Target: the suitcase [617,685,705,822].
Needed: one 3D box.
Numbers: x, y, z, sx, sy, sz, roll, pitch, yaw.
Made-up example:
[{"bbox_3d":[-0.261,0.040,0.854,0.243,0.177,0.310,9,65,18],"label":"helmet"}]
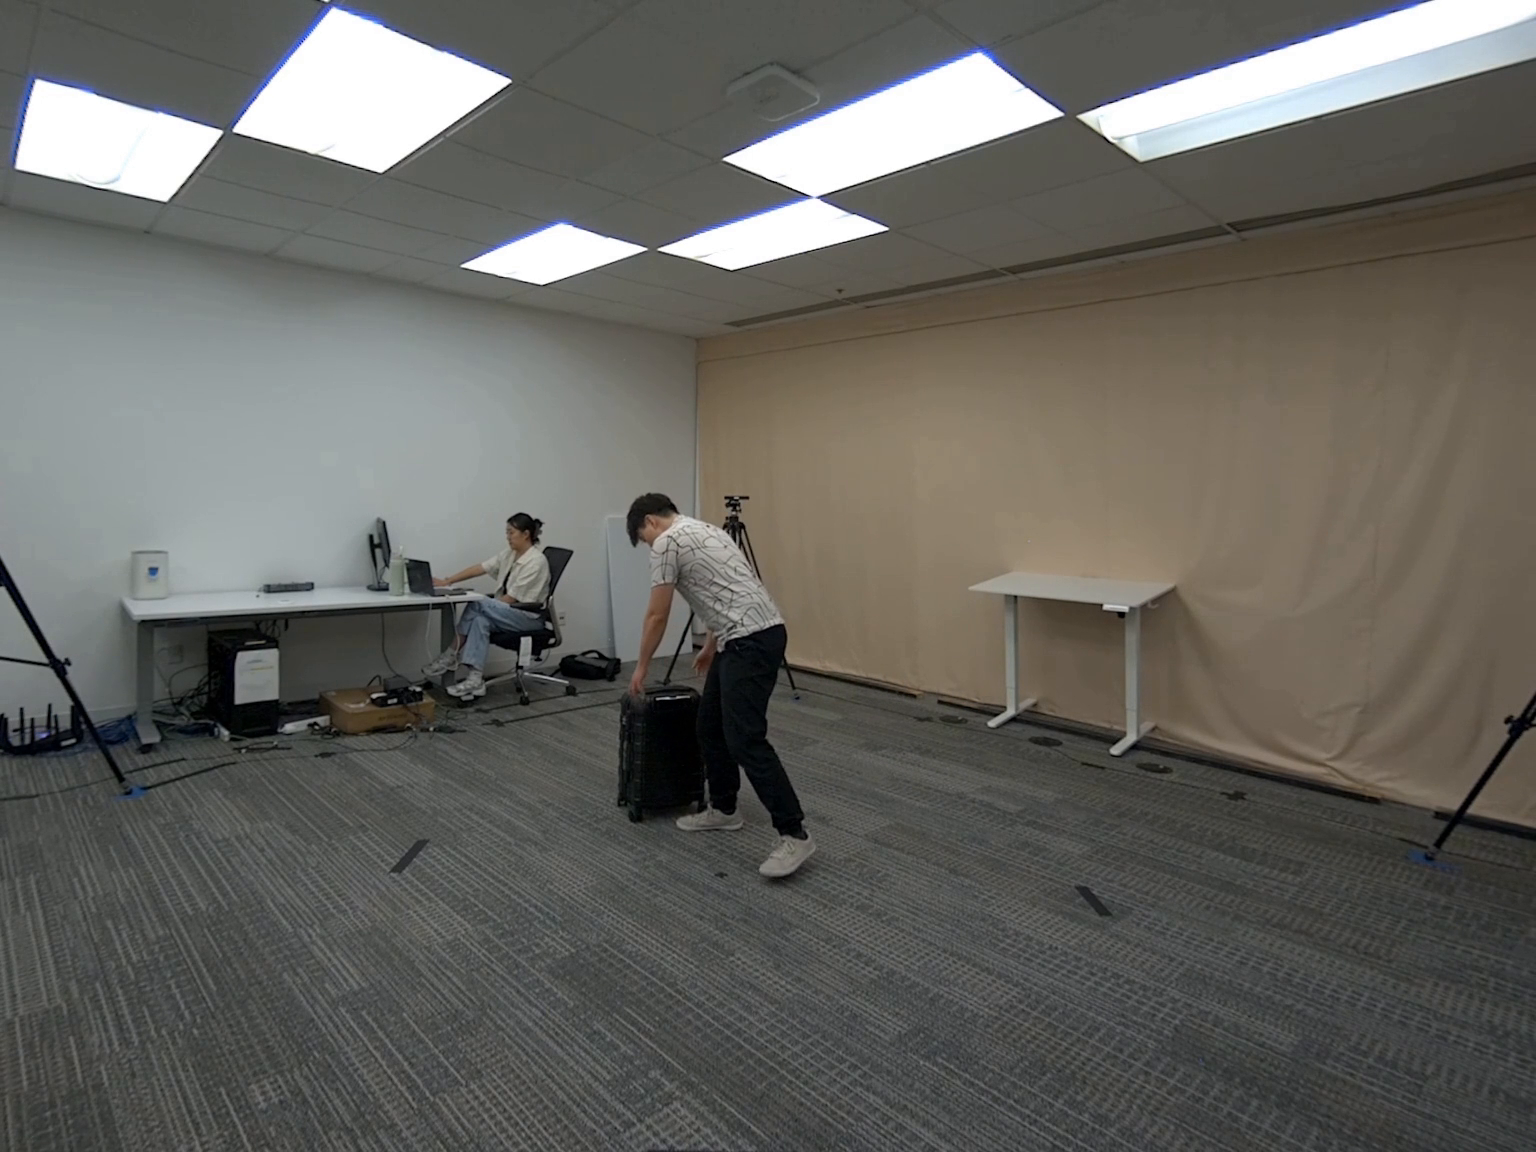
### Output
[{"bbox_3d":[-0.479,0.762,3.729,0.368,0.548,0.253,-1,4,-26],"label":"suitcase"}]
